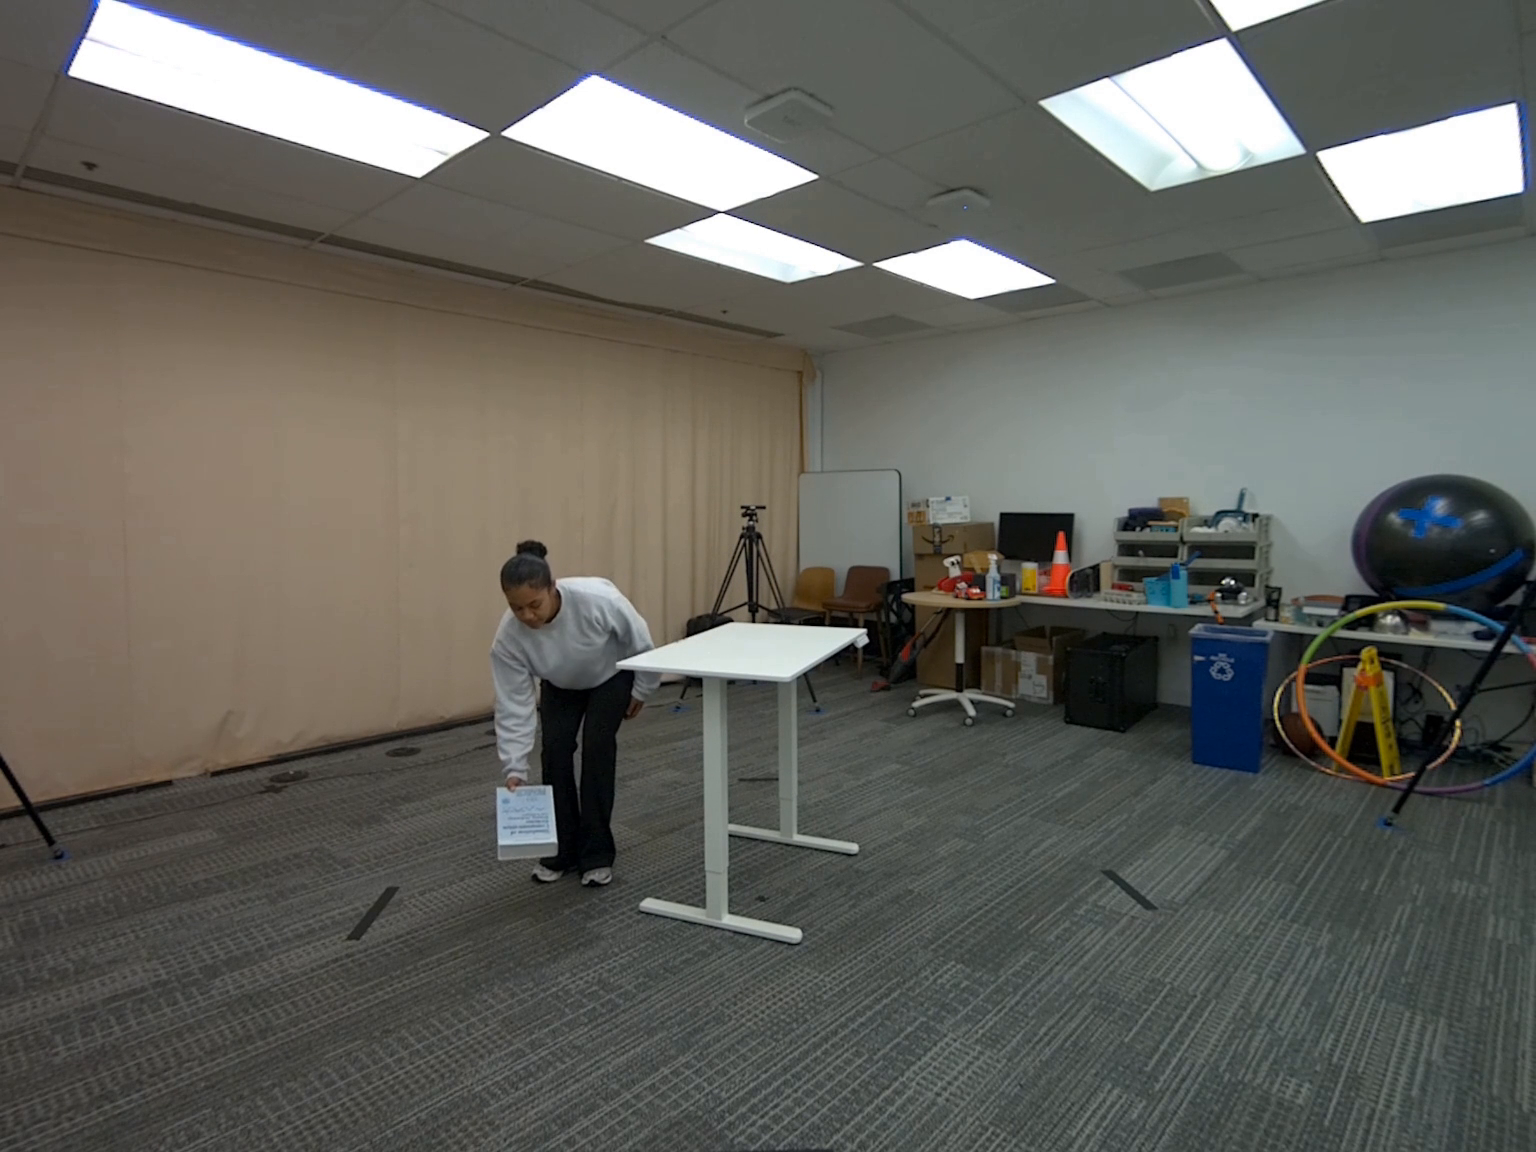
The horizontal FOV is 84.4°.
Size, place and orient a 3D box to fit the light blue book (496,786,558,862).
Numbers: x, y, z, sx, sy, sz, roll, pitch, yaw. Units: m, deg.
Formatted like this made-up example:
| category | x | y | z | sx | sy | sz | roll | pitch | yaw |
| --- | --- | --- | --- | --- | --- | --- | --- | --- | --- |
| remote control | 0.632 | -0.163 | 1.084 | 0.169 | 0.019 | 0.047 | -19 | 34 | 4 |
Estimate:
| category | x | y | z | sx | sy | sz | roll | pitch | yaw |
| --- | --- | --- | --- | --- | --- | --- | --- | --- | --- |
| light blue book | -0.792 | 0.804 | 2.788 | 0.188 | 0.058 | 0.268 | 0 | 27 | -16 |
